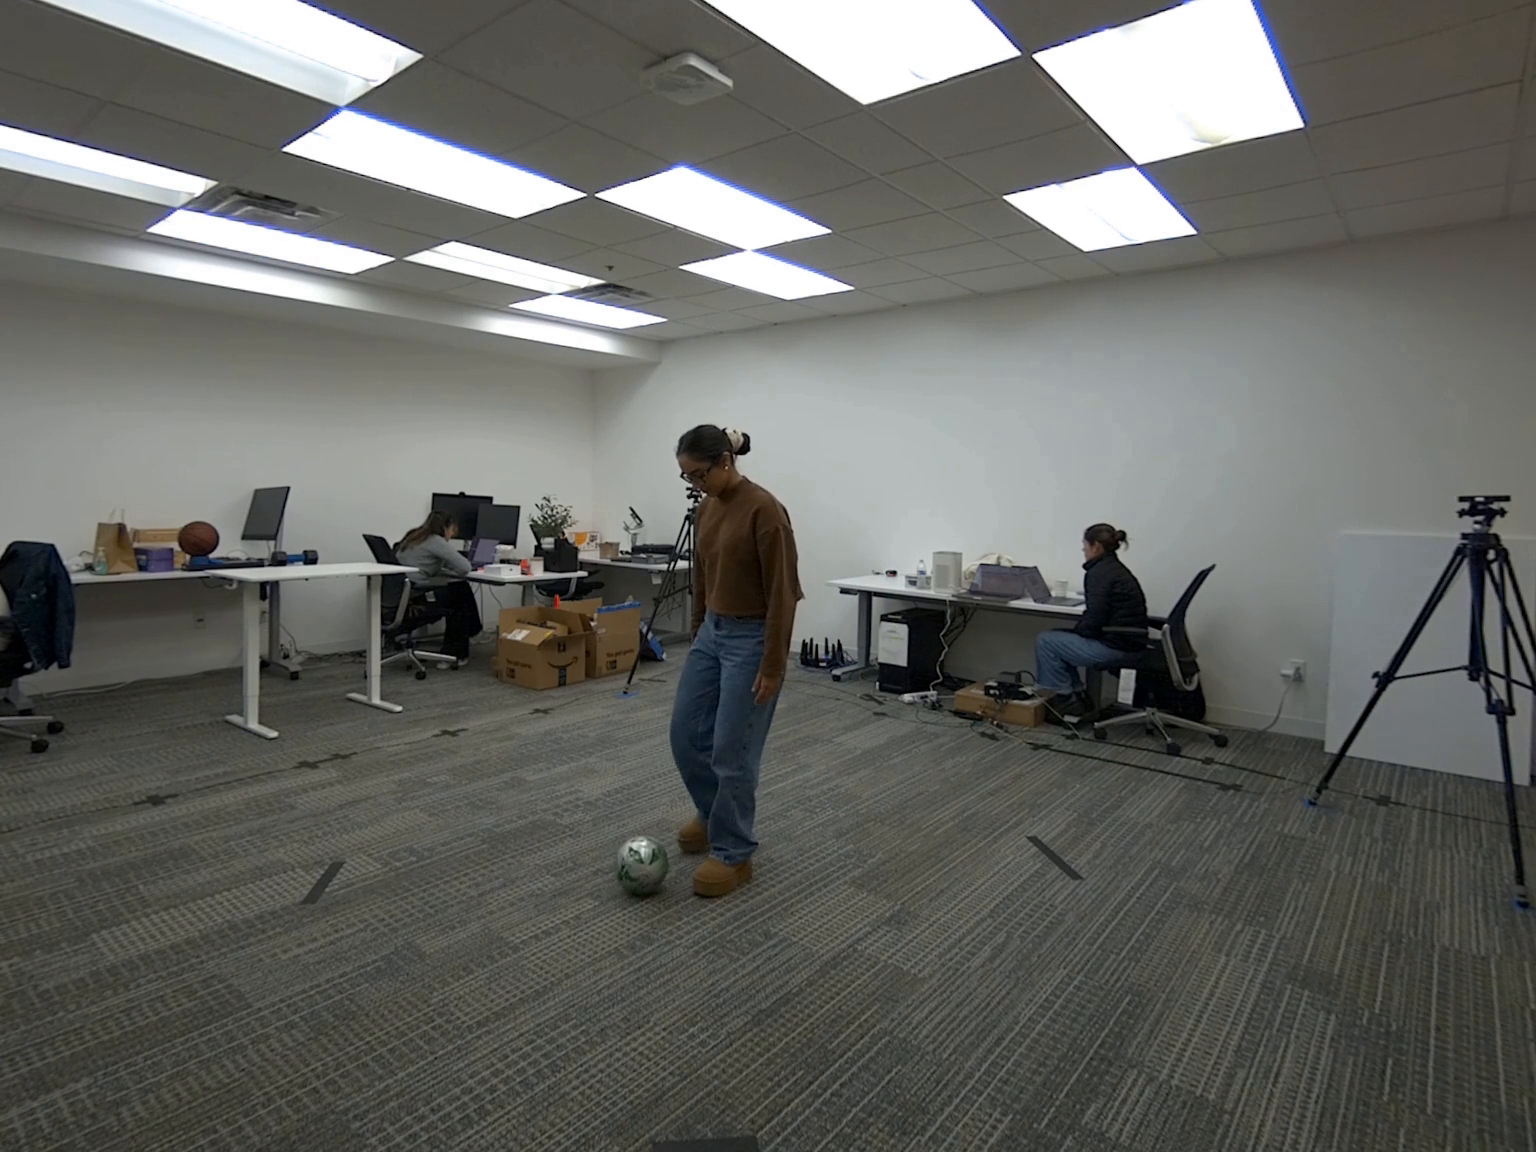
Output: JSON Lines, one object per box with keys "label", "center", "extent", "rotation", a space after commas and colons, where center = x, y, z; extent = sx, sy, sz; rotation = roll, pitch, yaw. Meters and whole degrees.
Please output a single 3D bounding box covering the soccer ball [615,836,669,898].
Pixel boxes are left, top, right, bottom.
{"label": "soccer ball", "center": [-0.442, 0.987, 2.915], "extent": [0.187, 0.187, 0.188], "rotation": [1, 4, -2]}
